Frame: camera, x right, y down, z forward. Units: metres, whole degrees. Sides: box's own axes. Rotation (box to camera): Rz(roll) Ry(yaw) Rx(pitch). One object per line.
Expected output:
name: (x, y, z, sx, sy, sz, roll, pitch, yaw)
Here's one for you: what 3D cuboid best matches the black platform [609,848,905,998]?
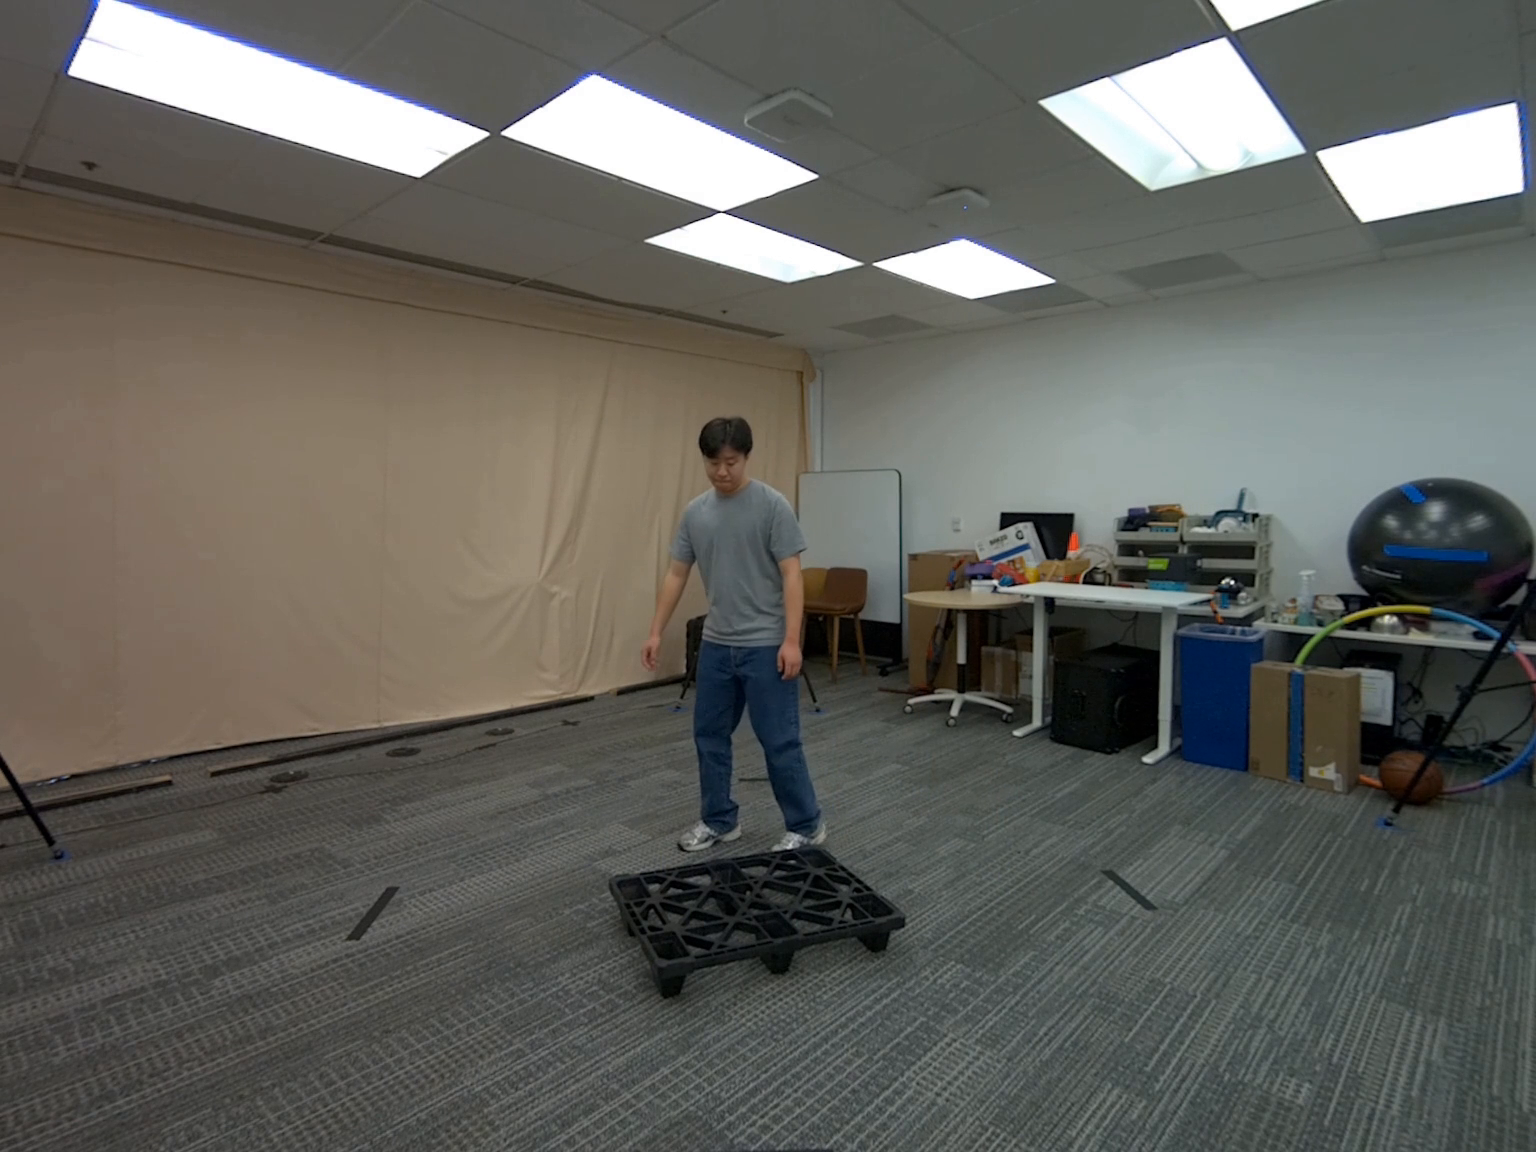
black platform: (-0.060, 1.098, 2.722, 0.788, 0.143, 0.619, -2, 4, -22)
